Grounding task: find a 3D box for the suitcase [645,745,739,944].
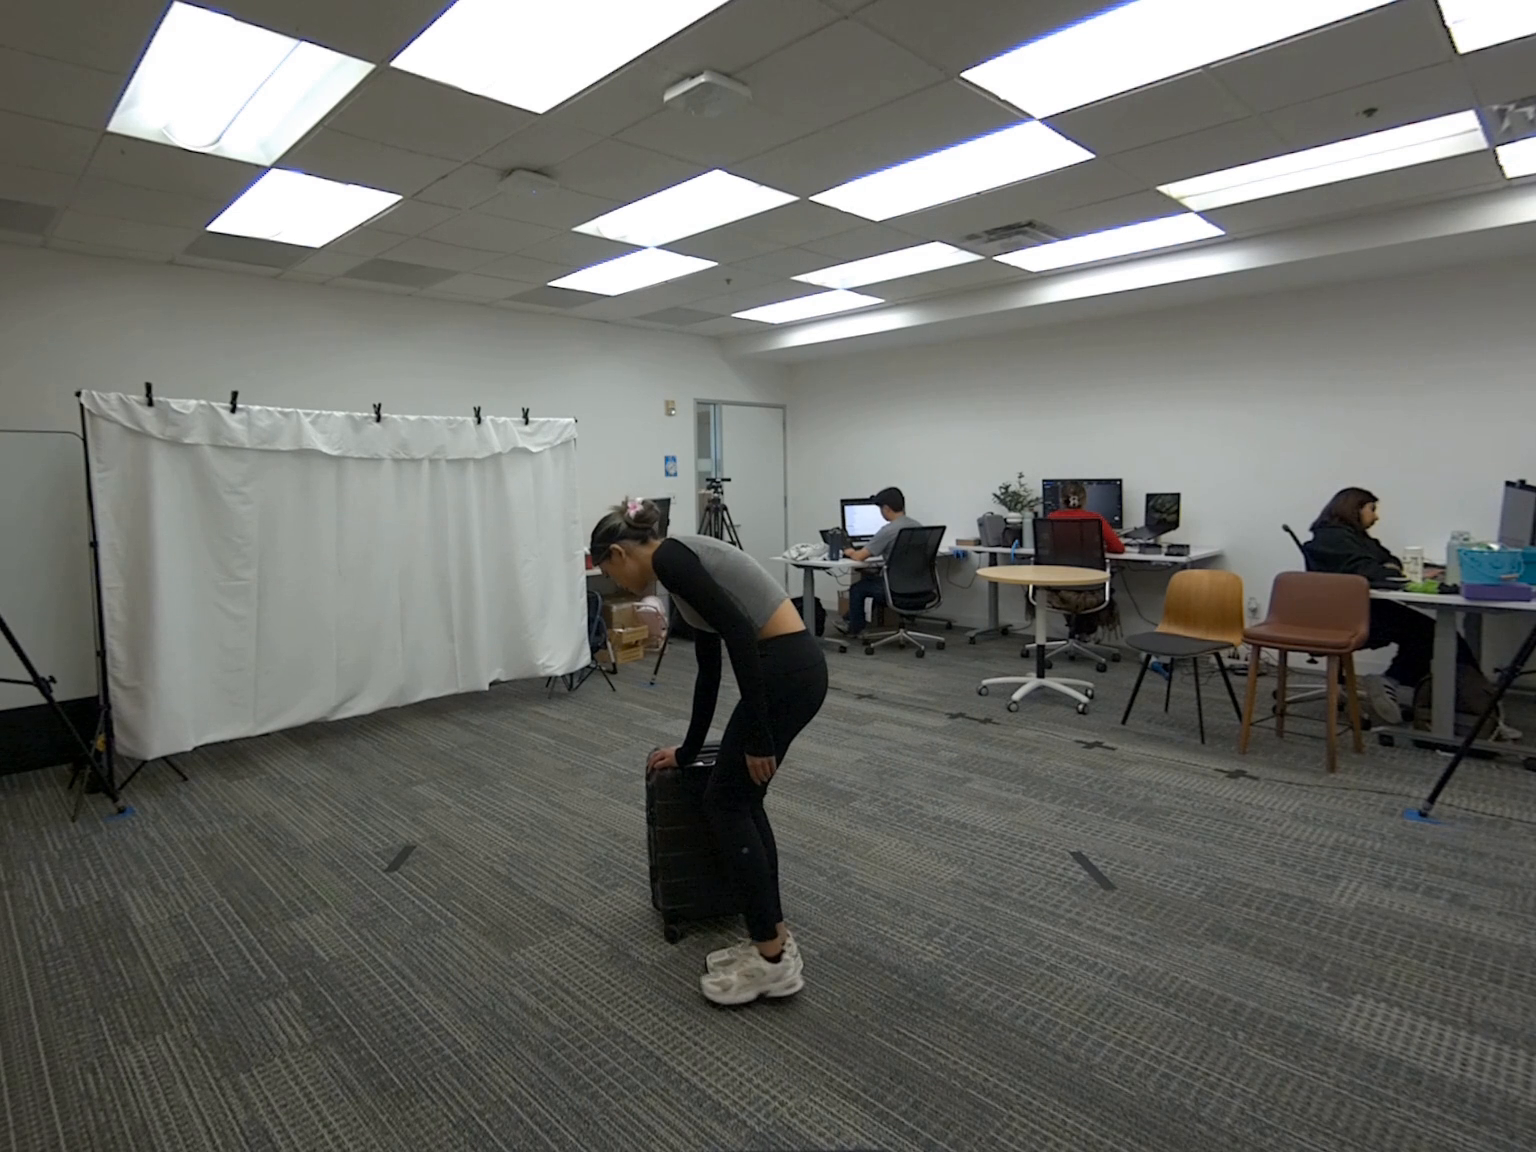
[{"bbox_3d":[-0.205,0.811,2.733,0.371,0.548,0.252,-4,3,-14],"label":"suitcase"}]
